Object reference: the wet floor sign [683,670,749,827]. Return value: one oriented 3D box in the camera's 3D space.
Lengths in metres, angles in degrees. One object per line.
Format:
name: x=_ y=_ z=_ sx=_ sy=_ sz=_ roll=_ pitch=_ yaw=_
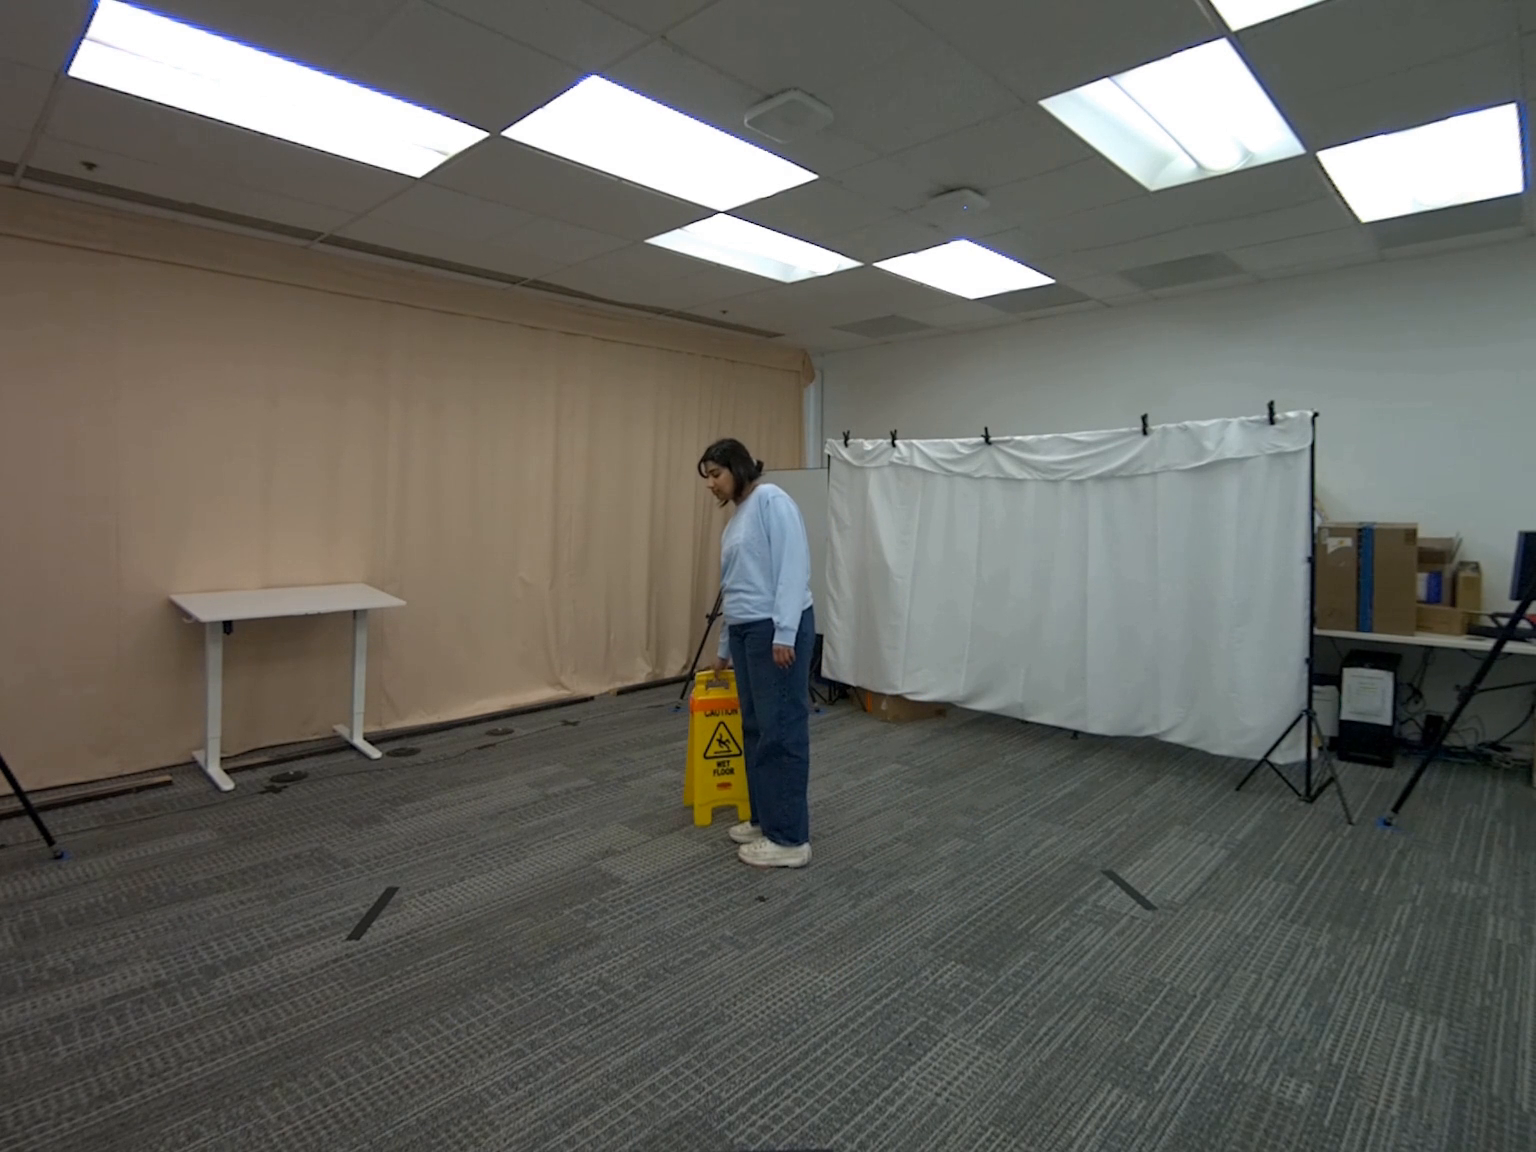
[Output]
wet floor sign: x=-0.215 y=0.742 z=3.781 sx=0.278 sy=0.643 sz=0.295 roll=-2 pitch=7 yaw=-15
